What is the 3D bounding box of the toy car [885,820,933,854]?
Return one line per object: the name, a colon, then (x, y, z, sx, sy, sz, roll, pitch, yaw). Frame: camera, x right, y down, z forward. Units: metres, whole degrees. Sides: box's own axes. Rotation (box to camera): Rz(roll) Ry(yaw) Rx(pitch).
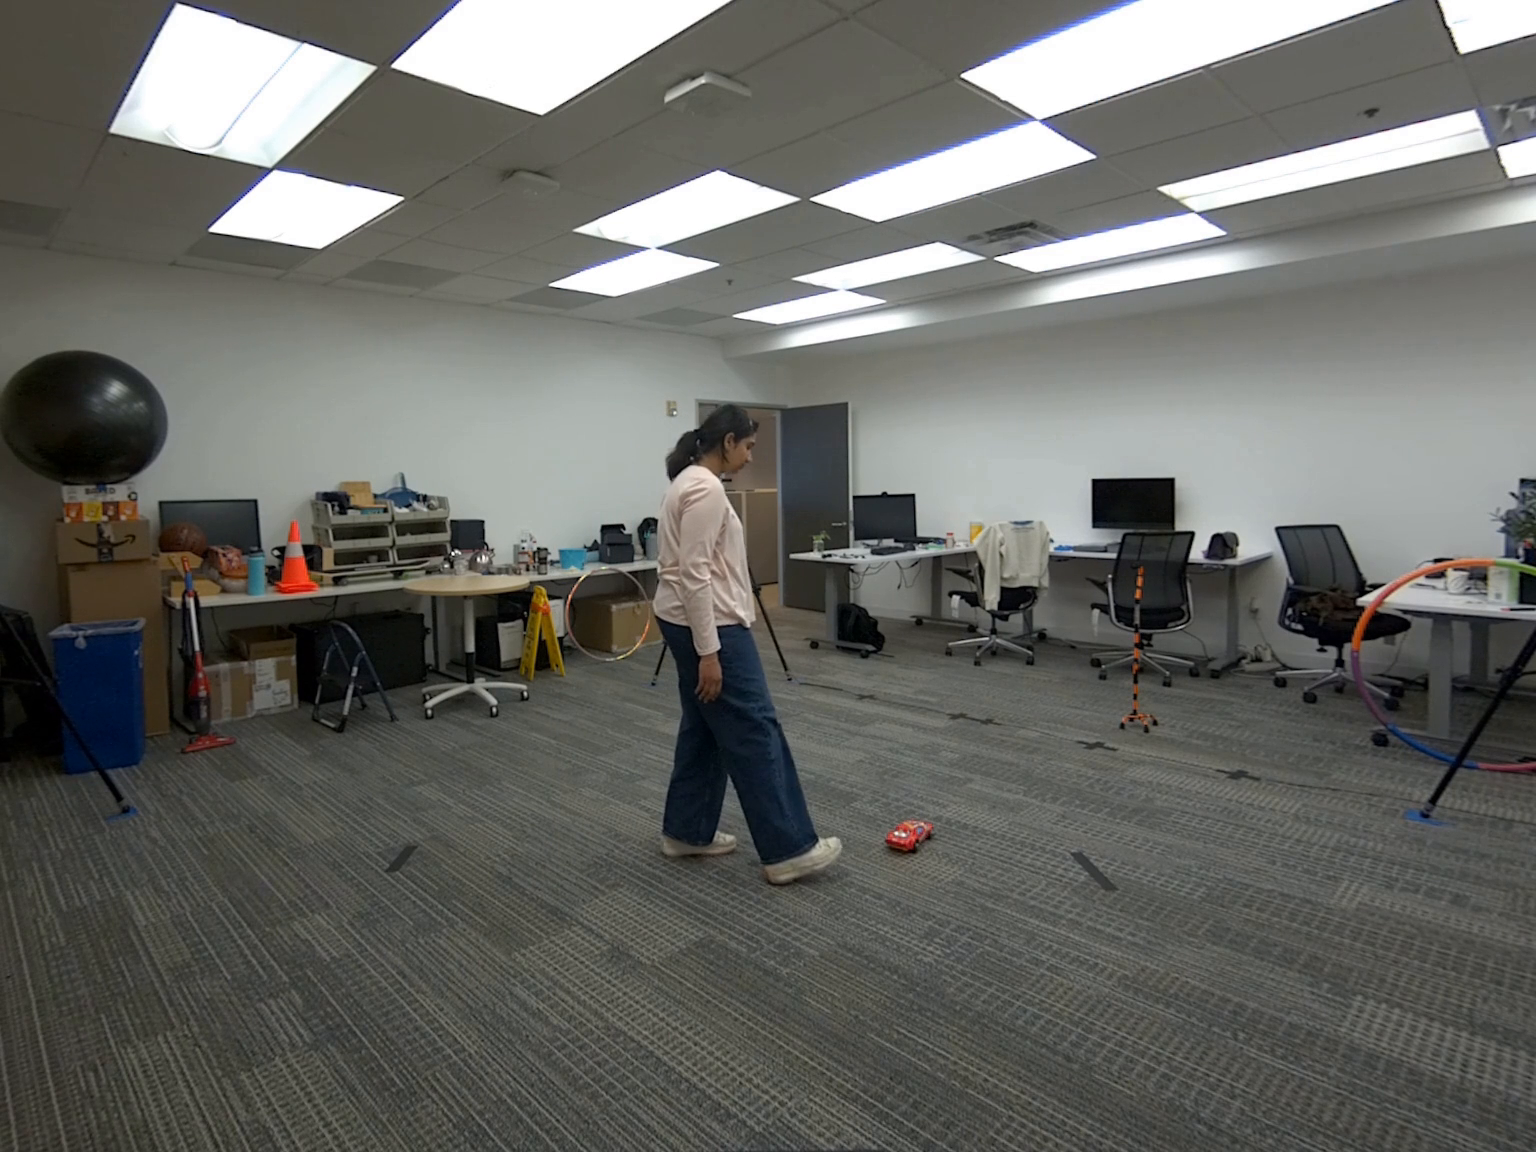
toy car: (0.538, 0.988, 3.243, 0.134, 0.083, 0.246, 4, -3, 35)
